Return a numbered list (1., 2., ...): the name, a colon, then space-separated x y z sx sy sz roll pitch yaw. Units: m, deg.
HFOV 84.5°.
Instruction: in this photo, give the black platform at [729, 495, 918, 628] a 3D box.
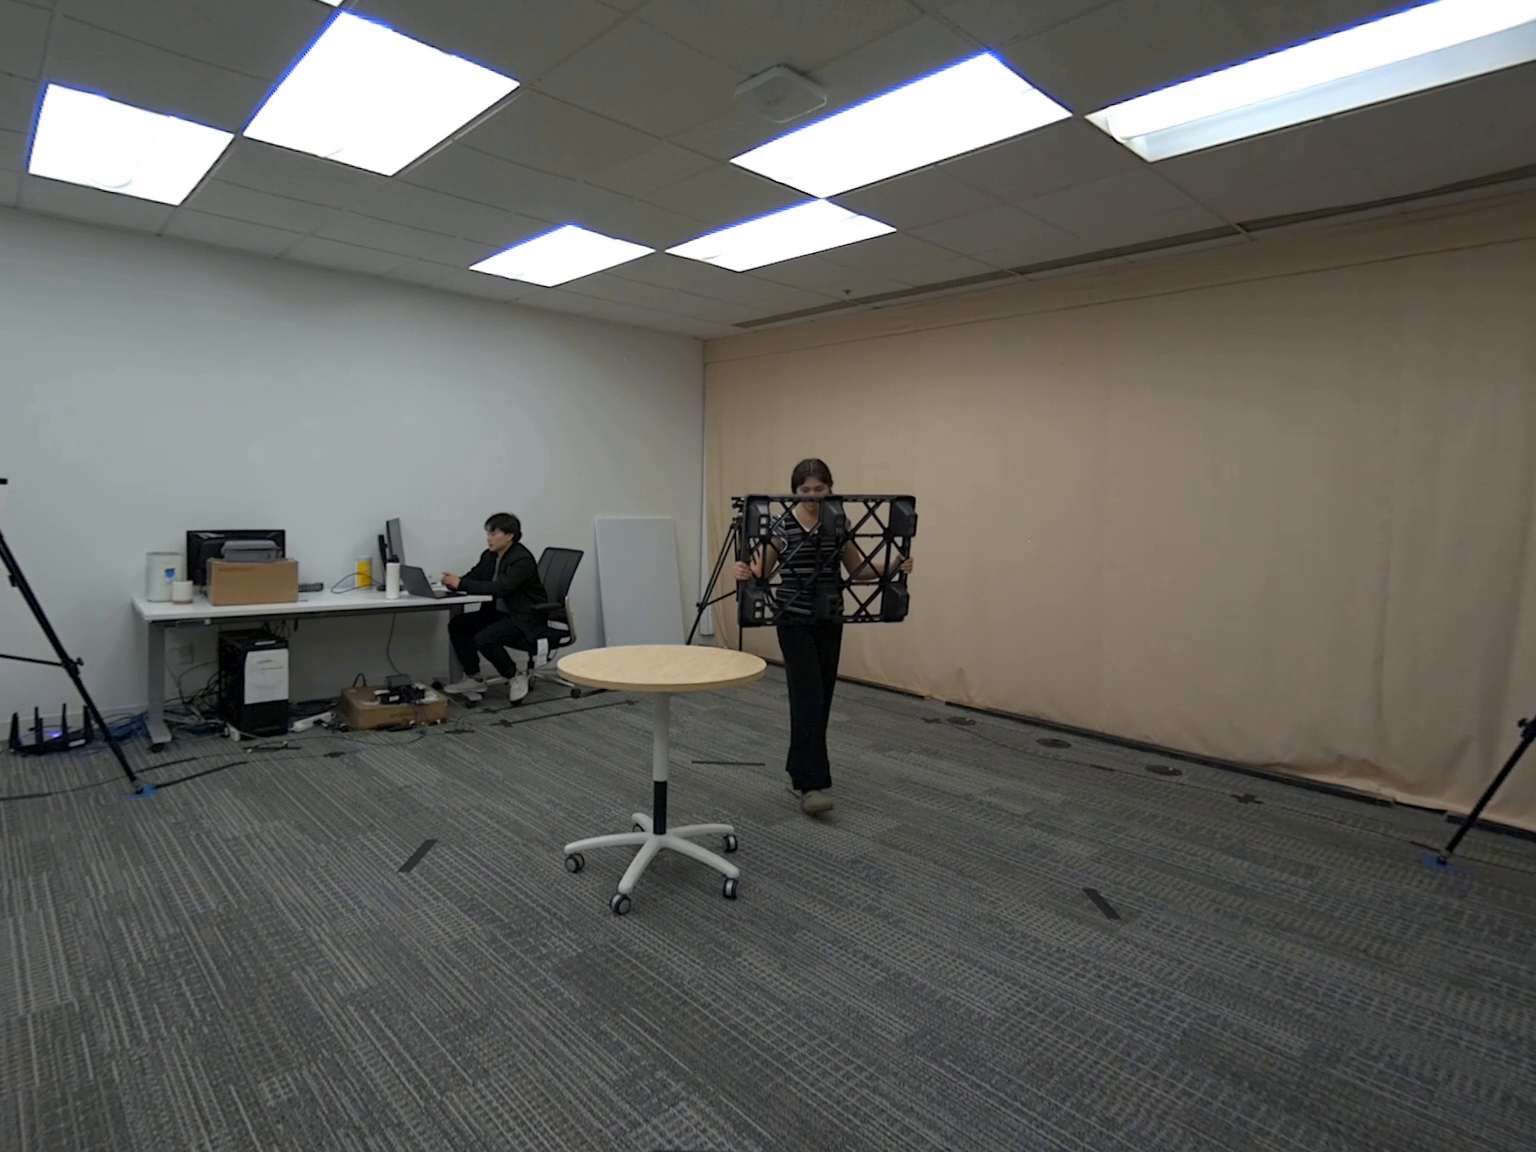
1. black platform: 0.274 -0.058 3.728 0.796 0.600 0.146 0 13 -15
